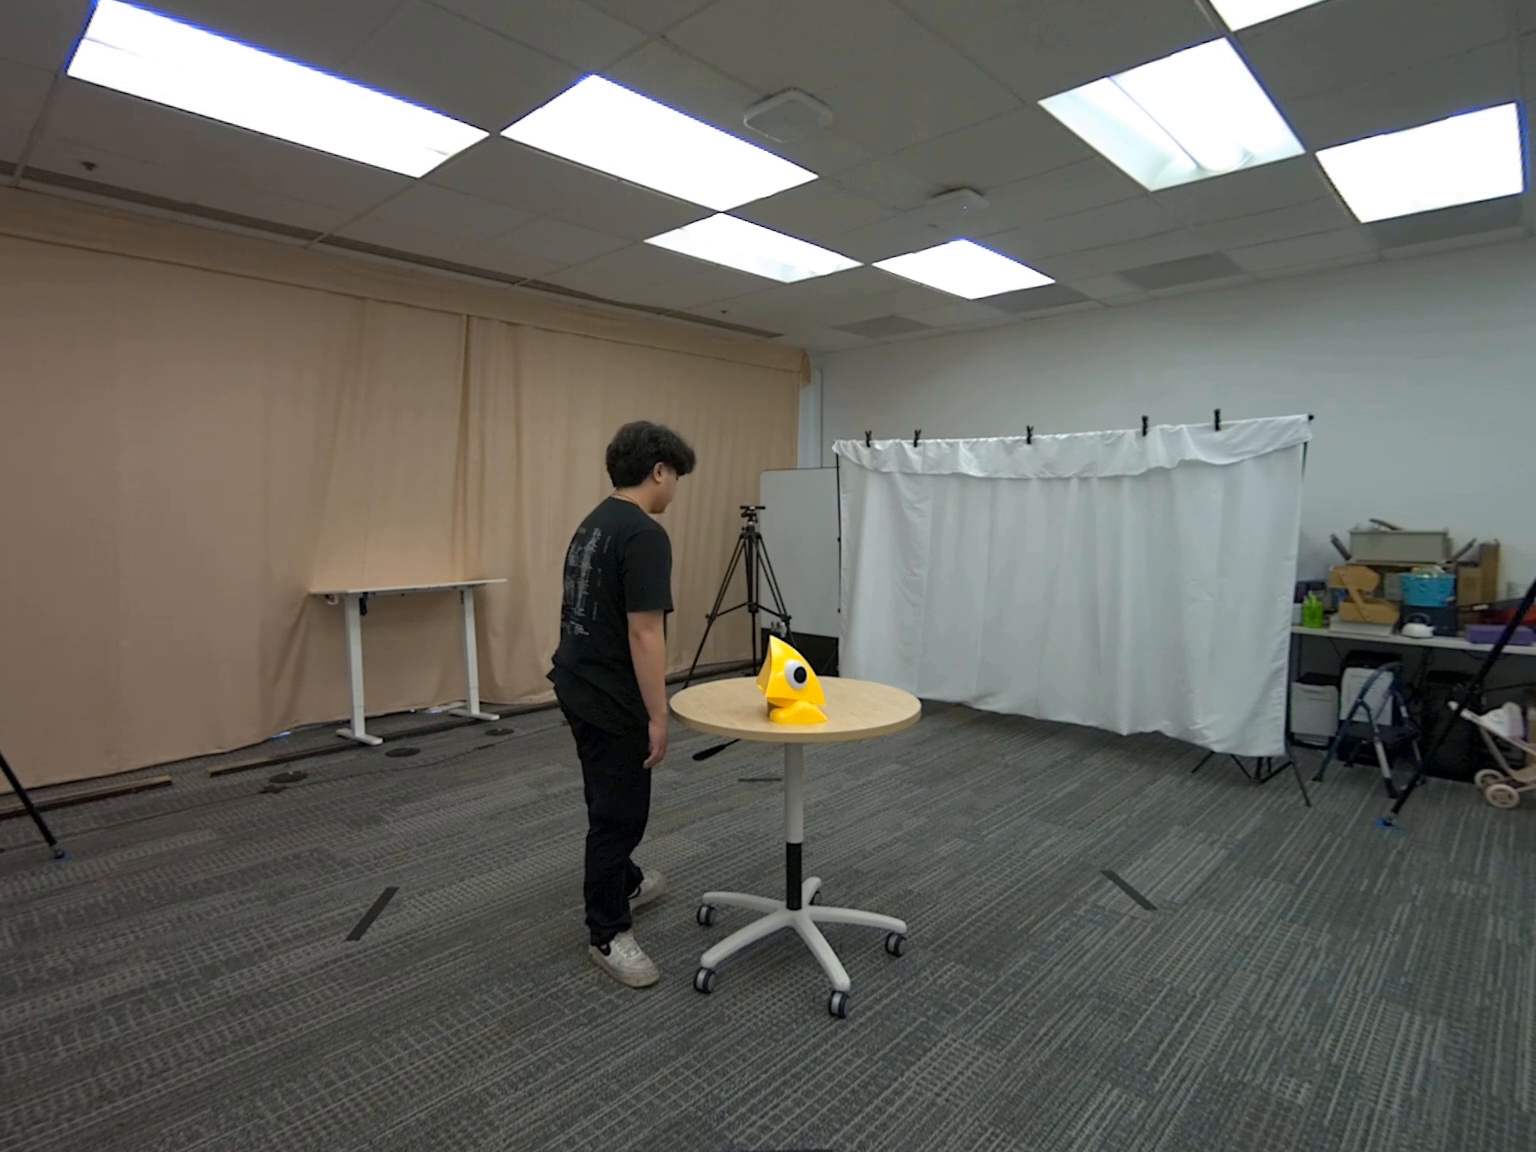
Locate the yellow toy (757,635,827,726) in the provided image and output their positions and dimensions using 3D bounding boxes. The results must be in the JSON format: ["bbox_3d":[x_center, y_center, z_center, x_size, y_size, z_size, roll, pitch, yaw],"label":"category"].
[{"bbox_3d":[0.072,0.285,2.390,0.192,0.230,0.206,0,3,-6],"label":"yellow toy"}]
